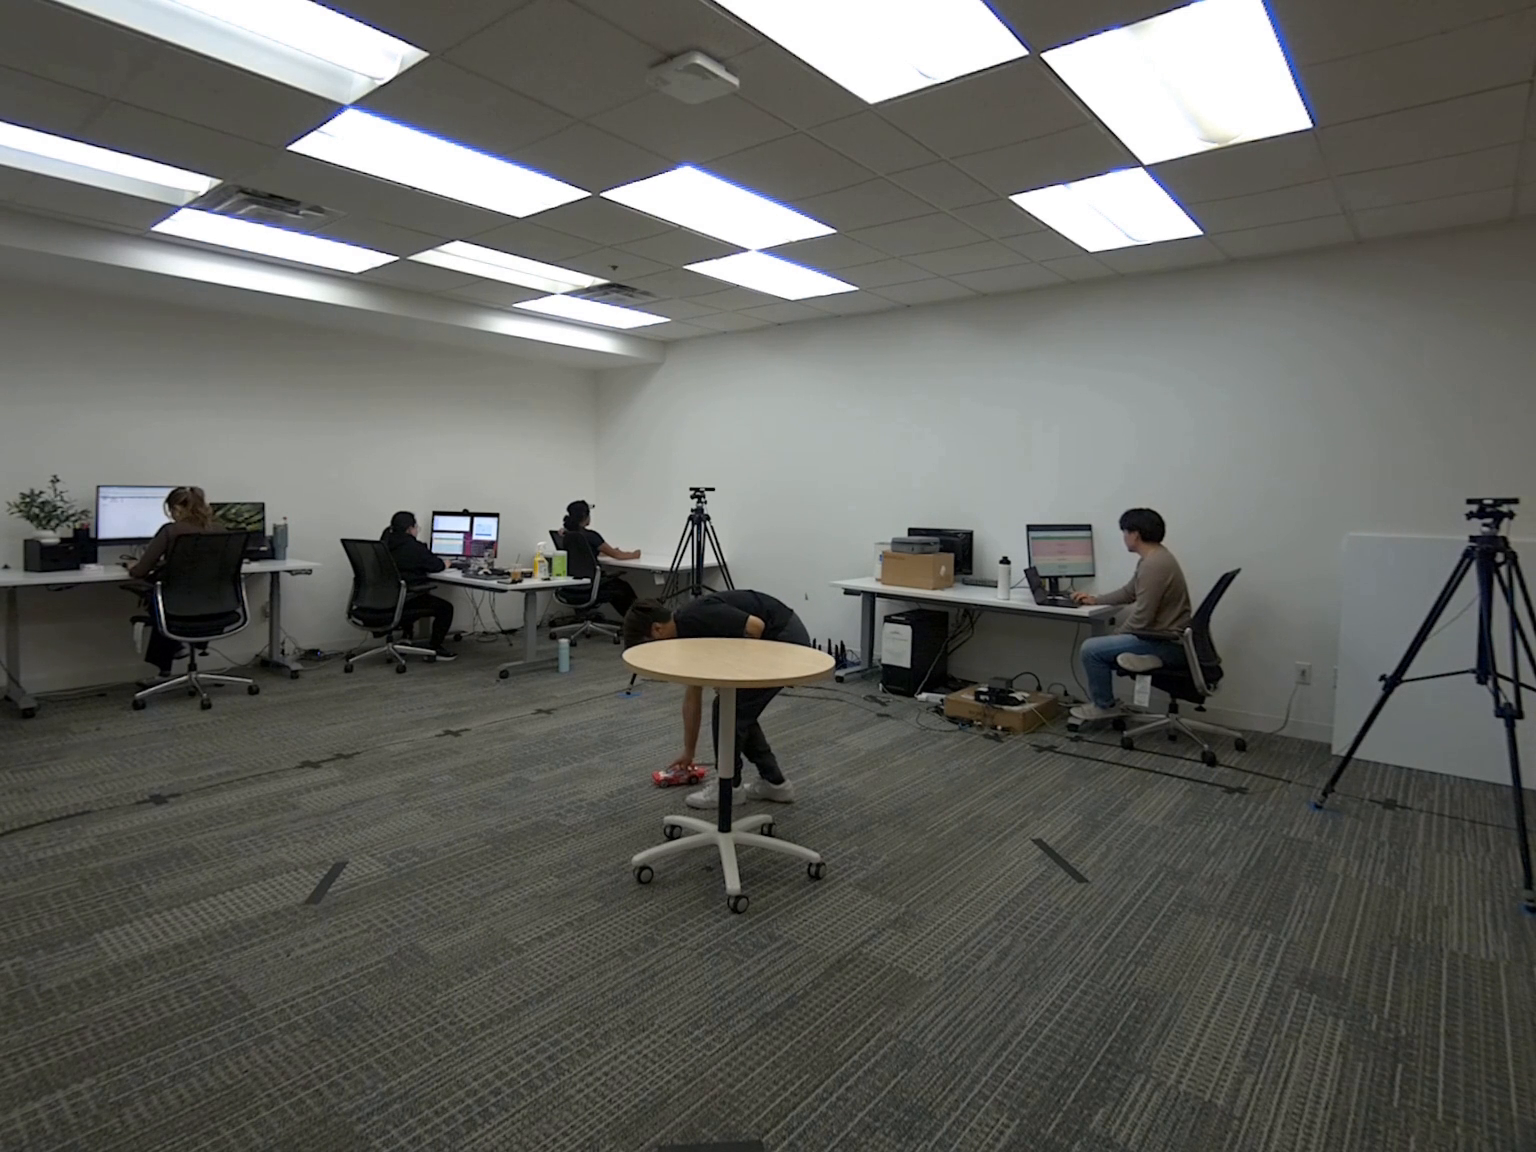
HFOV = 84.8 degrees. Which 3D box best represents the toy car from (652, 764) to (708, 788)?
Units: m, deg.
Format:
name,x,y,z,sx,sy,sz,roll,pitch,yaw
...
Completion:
name,x,y,z,sx,sy,sz,roll,pitch,yaw
toy car,-0.428,0.943,4.026,0.251,0.082,0.133,-12,10,-18
